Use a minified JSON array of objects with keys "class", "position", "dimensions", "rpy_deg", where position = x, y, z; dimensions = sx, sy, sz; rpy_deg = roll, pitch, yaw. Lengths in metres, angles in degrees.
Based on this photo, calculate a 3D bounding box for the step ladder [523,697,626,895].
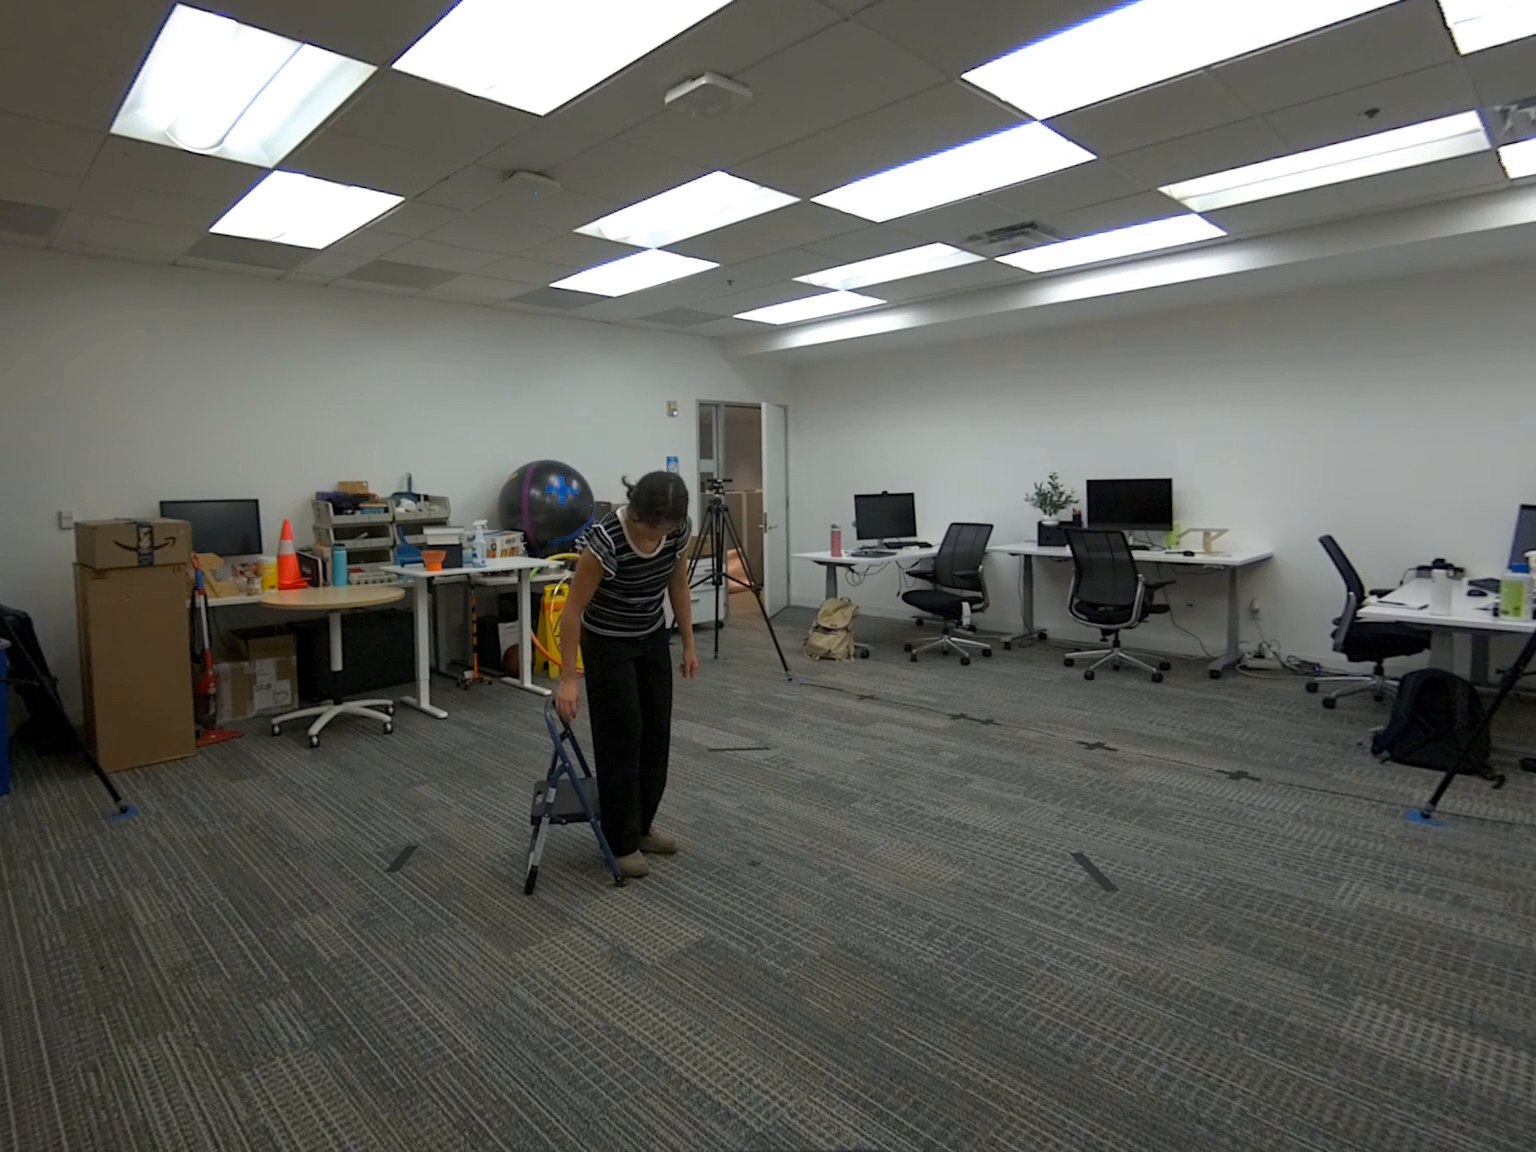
[{"class":"step ladder","position":[-0.711,0.757,3.110],"dimensions":[0.345,0.604,0.437],"rpy_deg":[-1,4,-12]}]
